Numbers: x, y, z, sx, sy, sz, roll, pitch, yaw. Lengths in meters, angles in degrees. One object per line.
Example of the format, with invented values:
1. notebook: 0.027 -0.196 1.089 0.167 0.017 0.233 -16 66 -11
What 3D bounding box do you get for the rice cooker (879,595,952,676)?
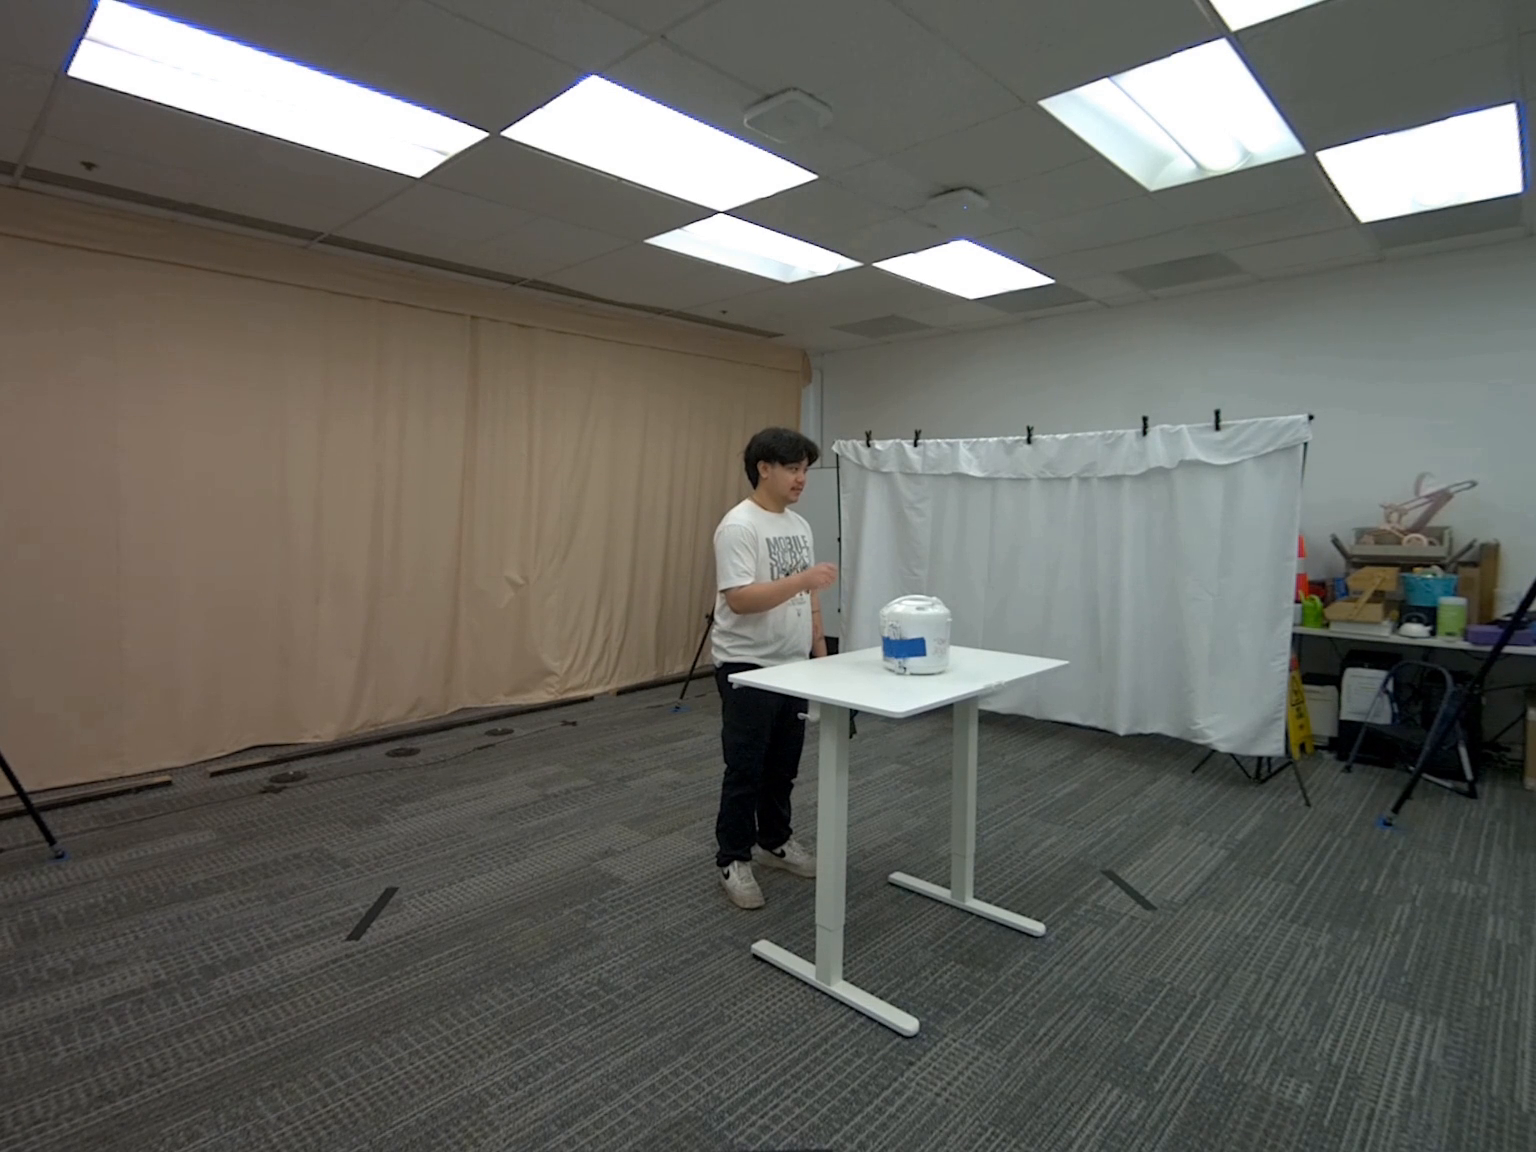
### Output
1. rice cooker: 0.460 0.177 2.594 0.219 0.232 0.219 1 4 -7
